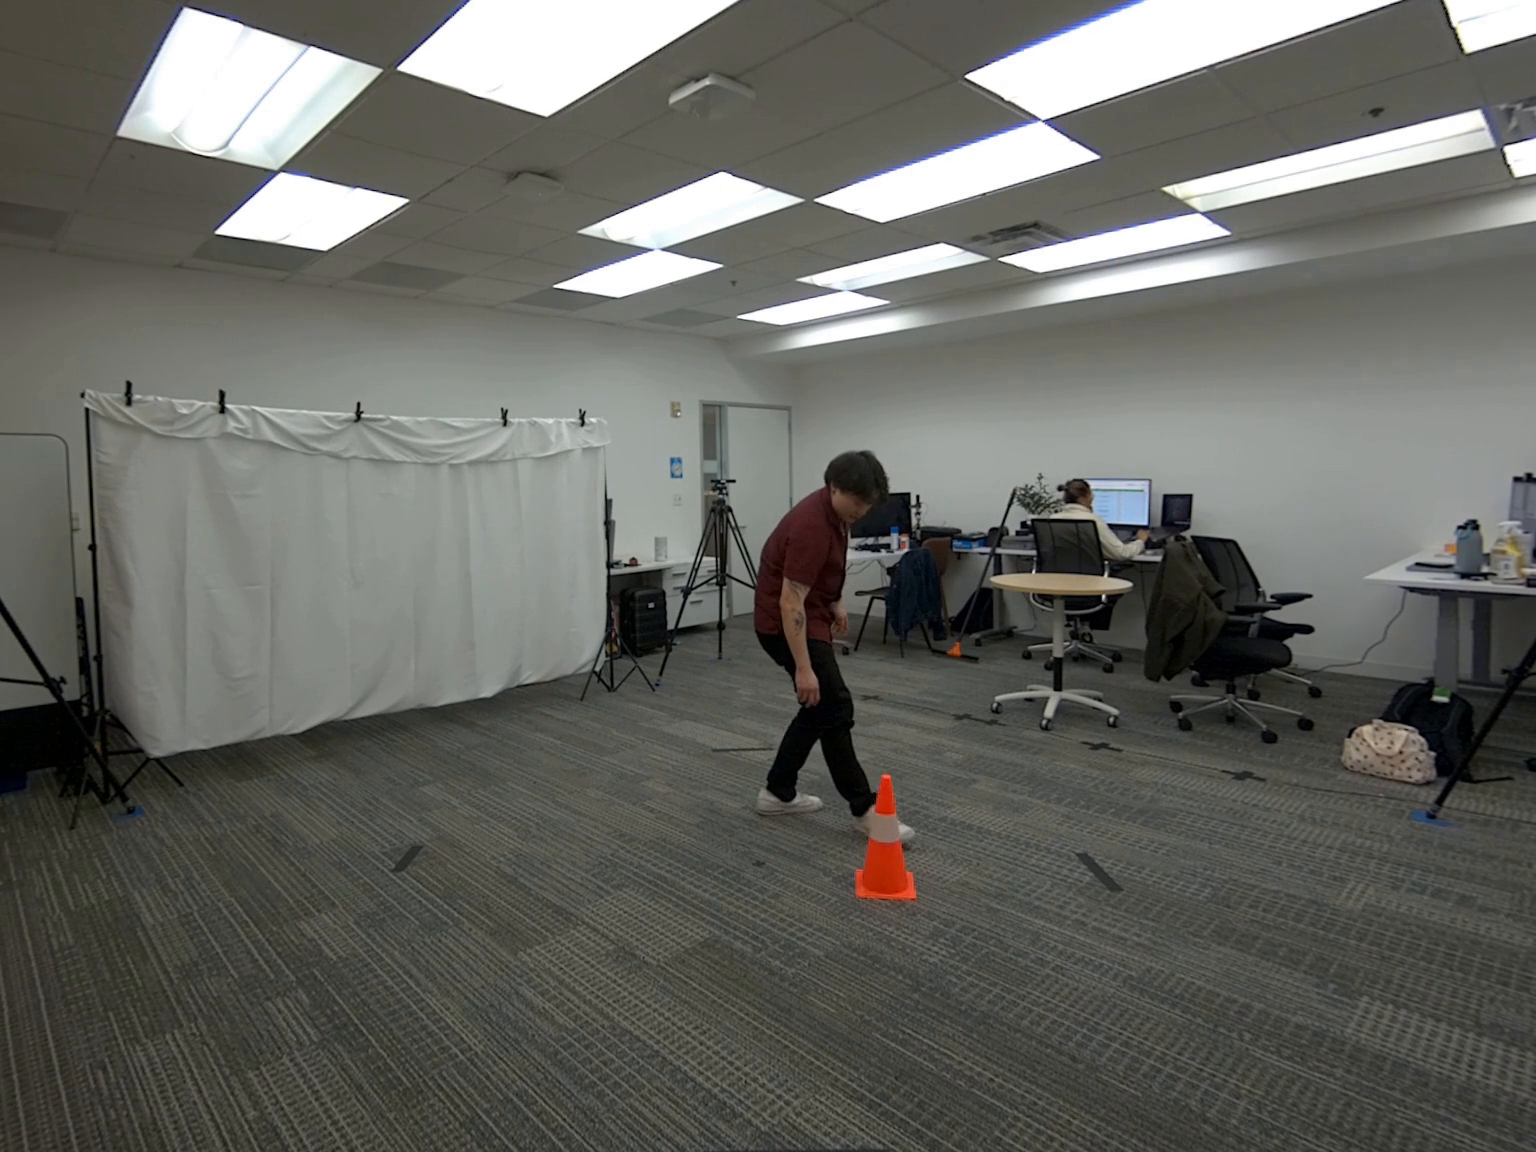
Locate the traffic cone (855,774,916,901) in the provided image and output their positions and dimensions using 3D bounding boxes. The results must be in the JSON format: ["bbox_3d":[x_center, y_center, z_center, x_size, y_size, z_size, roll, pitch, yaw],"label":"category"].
[{"bbox_3d":[0.409,0.880,2.923,0.207,0.382,0.202,0,5,10],"label":"traffic cone"}]
